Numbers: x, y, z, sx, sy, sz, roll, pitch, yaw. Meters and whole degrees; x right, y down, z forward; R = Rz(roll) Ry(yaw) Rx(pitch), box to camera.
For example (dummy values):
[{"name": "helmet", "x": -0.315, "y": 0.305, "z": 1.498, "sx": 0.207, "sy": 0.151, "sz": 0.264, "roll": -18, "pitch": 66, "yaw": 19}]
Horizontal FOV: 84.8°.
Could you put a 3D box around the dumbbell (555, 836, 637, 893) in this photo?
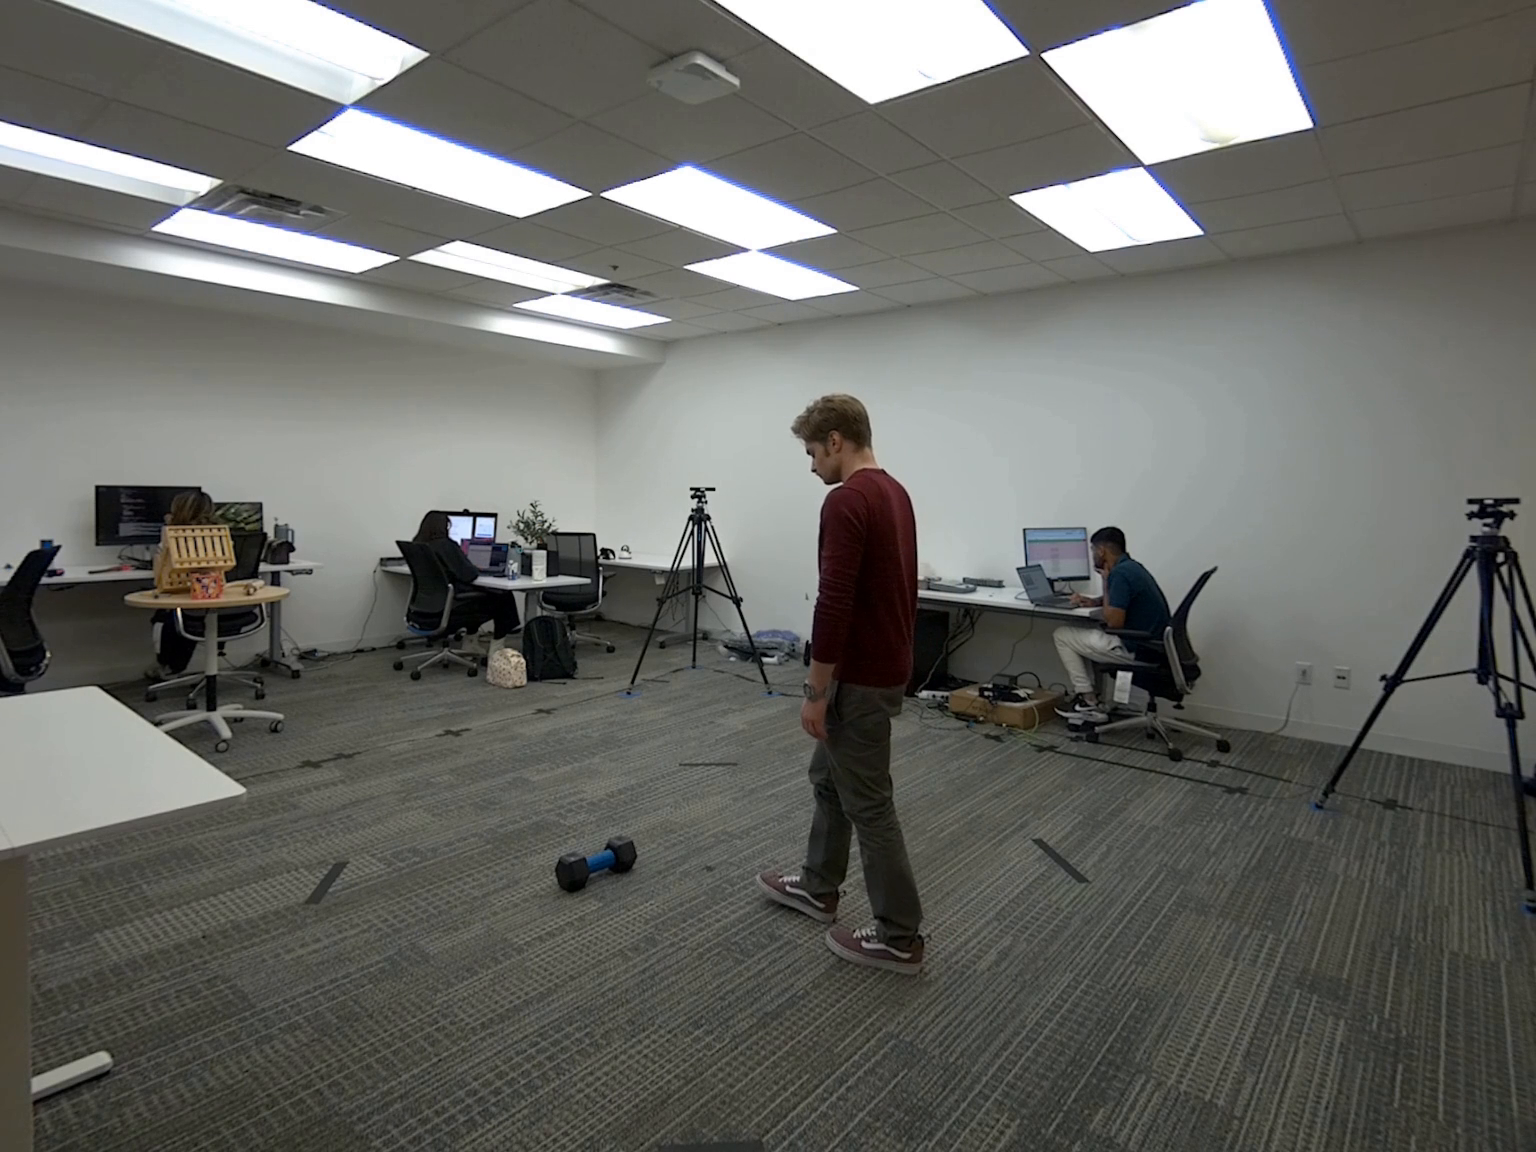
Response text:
[{"name": "dumbbell", "x": -0.617, "y": 1.015, "z": 3.017, "sx": 0.285, "sy": 0.126, "sz": 0.109, "roll": -4, "pitch": -24, "yaw": -46}]
